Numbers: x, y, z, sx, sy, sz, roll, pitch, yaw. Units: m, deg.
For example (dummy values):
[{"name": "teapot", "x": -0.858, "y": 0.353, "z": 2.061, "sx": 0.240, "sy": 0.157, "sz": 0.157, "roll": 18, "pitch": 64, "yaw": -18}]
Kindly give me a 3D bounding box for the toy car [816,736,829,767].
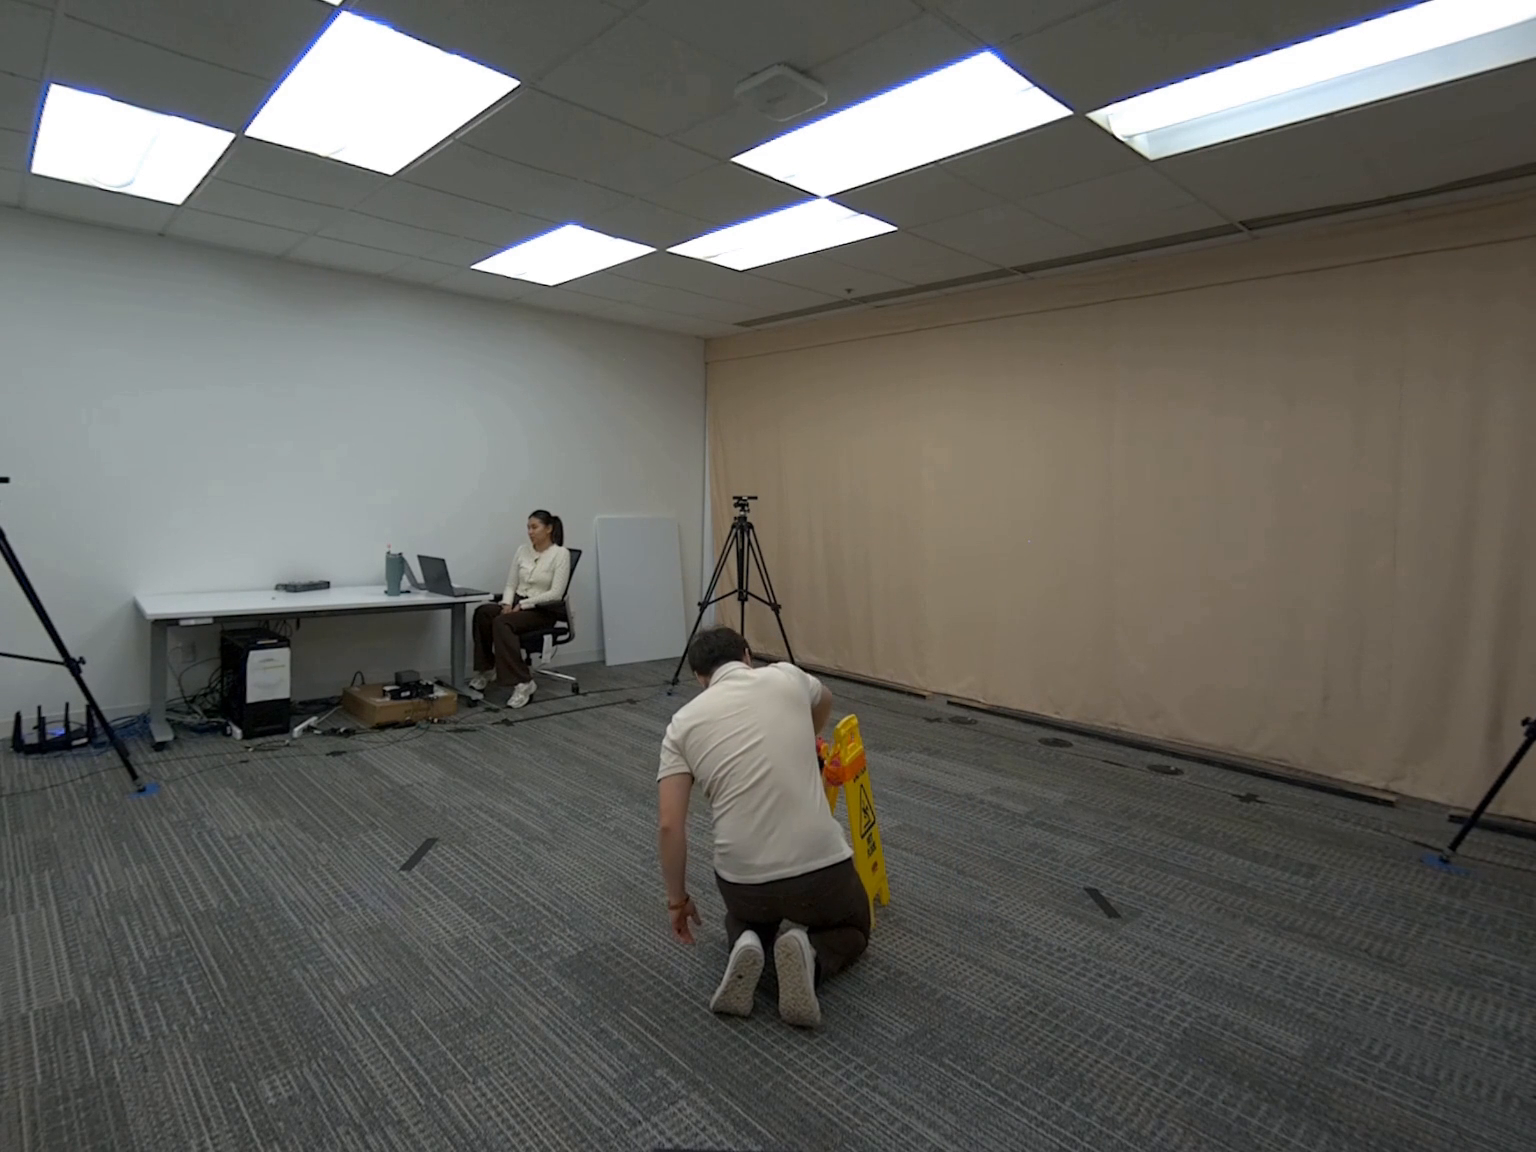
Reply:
[{"name": "toy car", "x": 0.176, "y": 0.693, "z": 2.878, "sx": 0.085, "sy": 0.255, "sz": 0.127, "roll": 2, "pitch": -5, "yaw": 24}]
